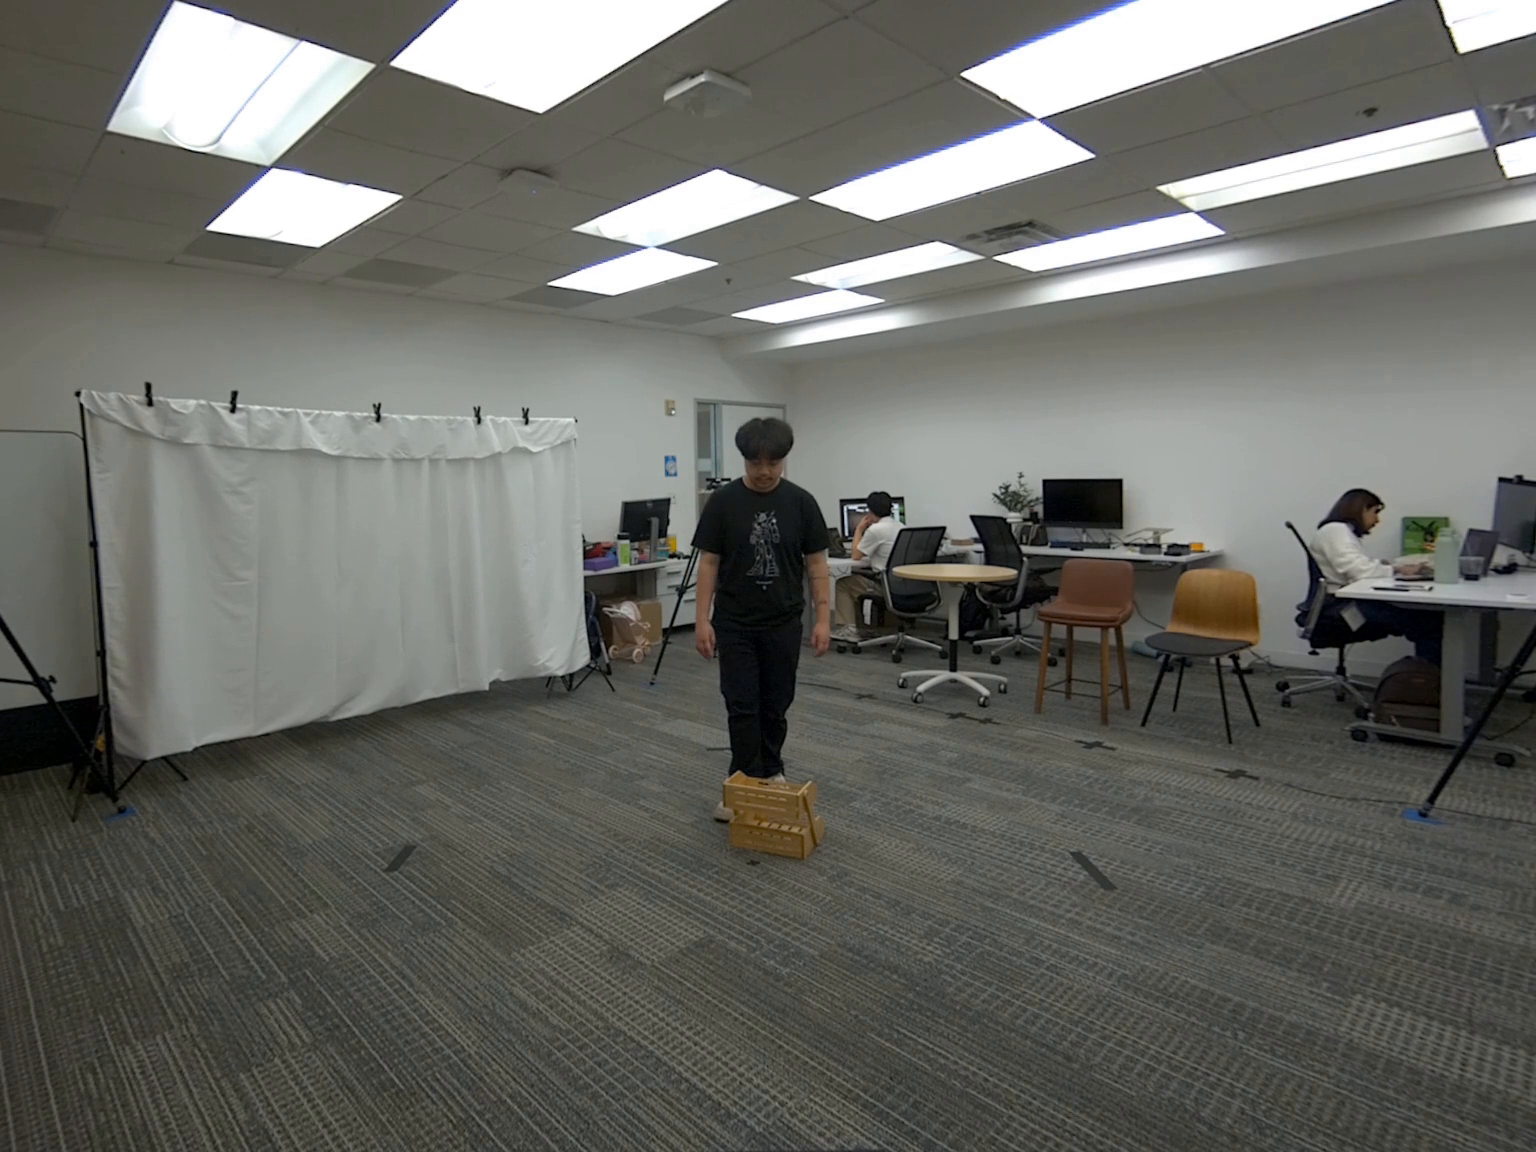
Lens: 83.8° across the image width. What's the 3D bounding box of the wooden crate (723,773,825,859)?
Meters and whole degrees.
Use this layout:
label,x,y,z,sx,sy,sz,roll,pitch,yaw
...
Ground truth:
label,x,y,z,sx,sy,sz,roll,pitch,yaw
wooden crate,0.031,0.897,3.277,0.332,0.272,0.297,1,6,23
